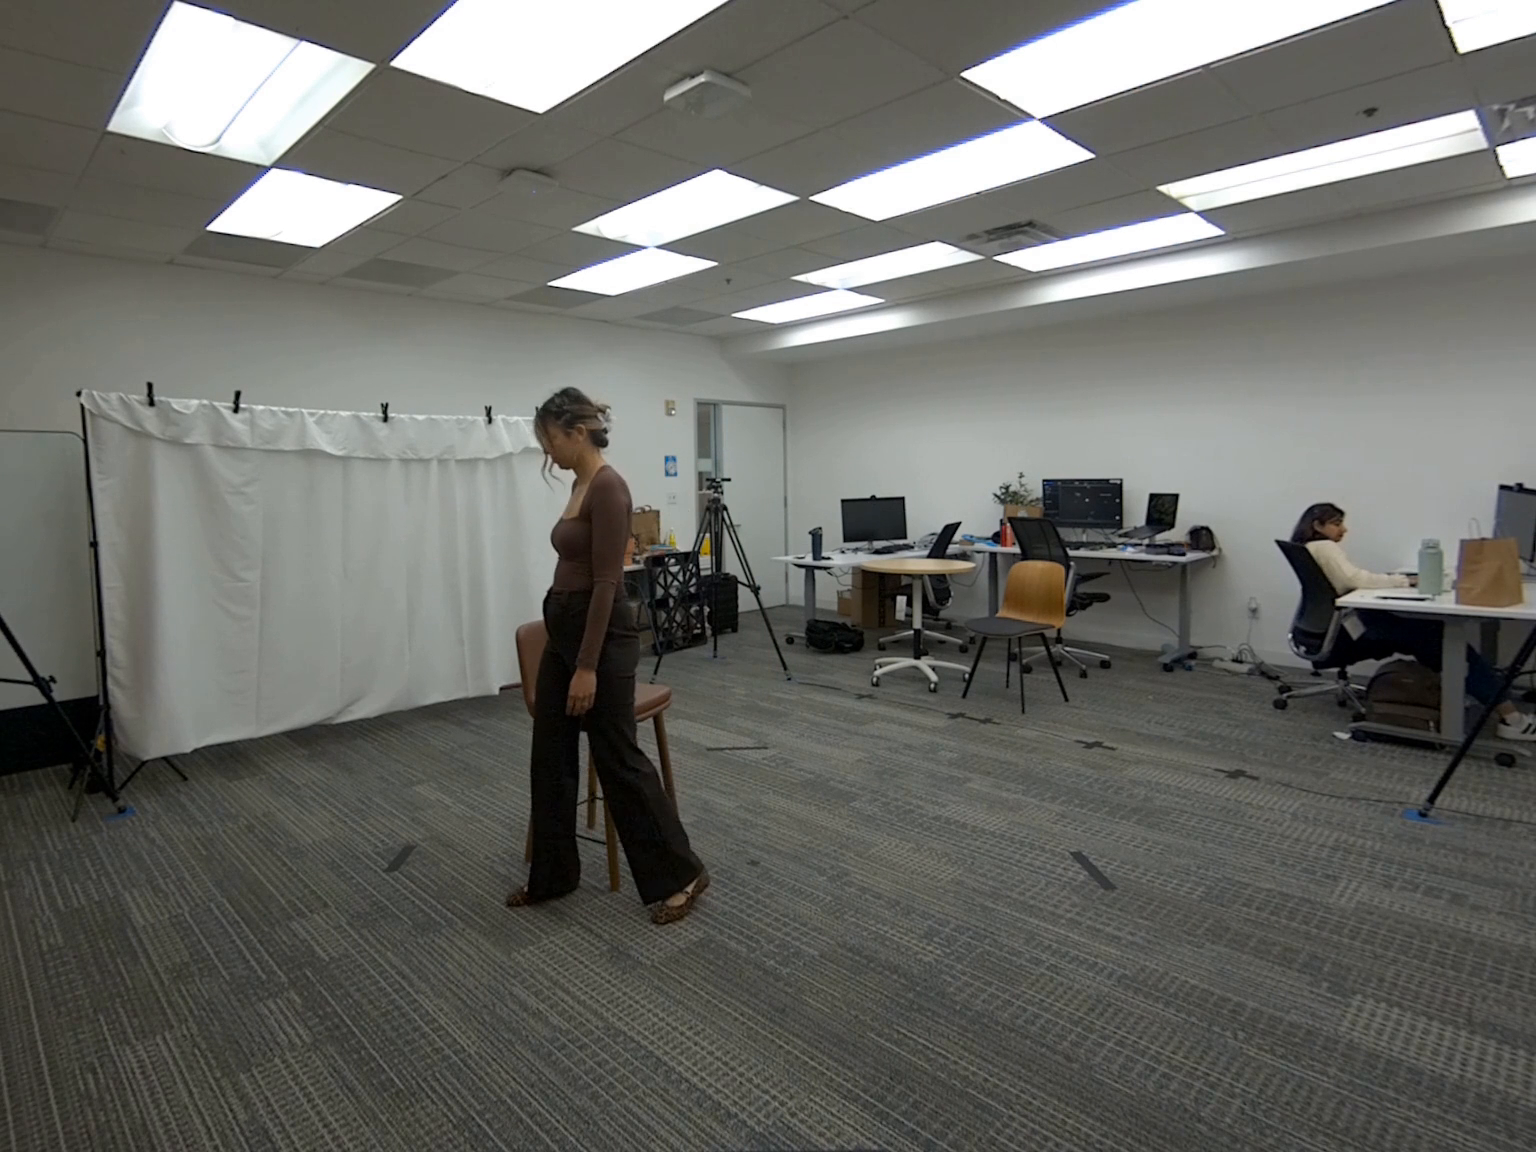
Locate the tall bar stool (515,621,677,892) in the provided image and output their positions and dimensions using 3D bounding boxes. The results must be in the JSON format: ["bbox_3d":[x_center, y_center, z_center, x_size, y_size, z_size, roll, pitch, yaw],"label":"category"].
[{"bbox_3d":[-0.623,0.610,3.175,0.480,0.887,0.446,0,4,31],"label":"tall bar stool"}]
